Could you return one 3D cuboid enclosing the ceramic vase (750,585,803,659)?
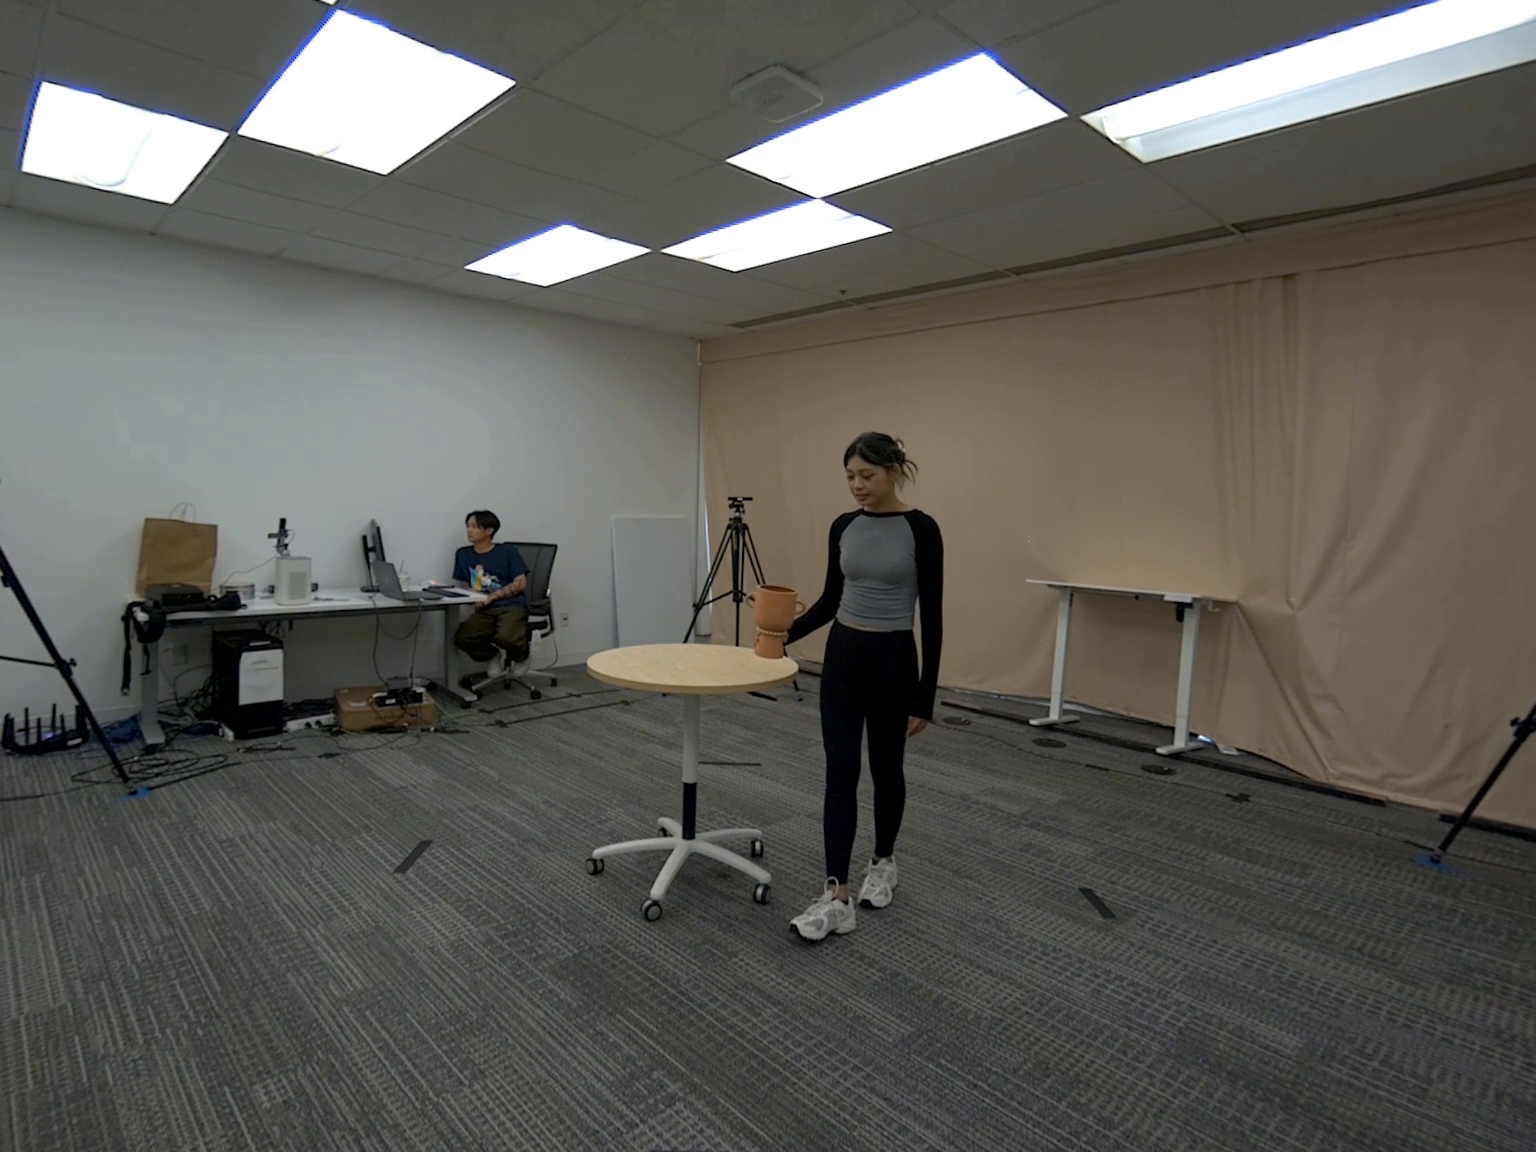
[{"bbox_3d":[0.008,0.147,2.717,0.131,0.219,0.163,0,10,-43],"label":"ceramic vase"}]
